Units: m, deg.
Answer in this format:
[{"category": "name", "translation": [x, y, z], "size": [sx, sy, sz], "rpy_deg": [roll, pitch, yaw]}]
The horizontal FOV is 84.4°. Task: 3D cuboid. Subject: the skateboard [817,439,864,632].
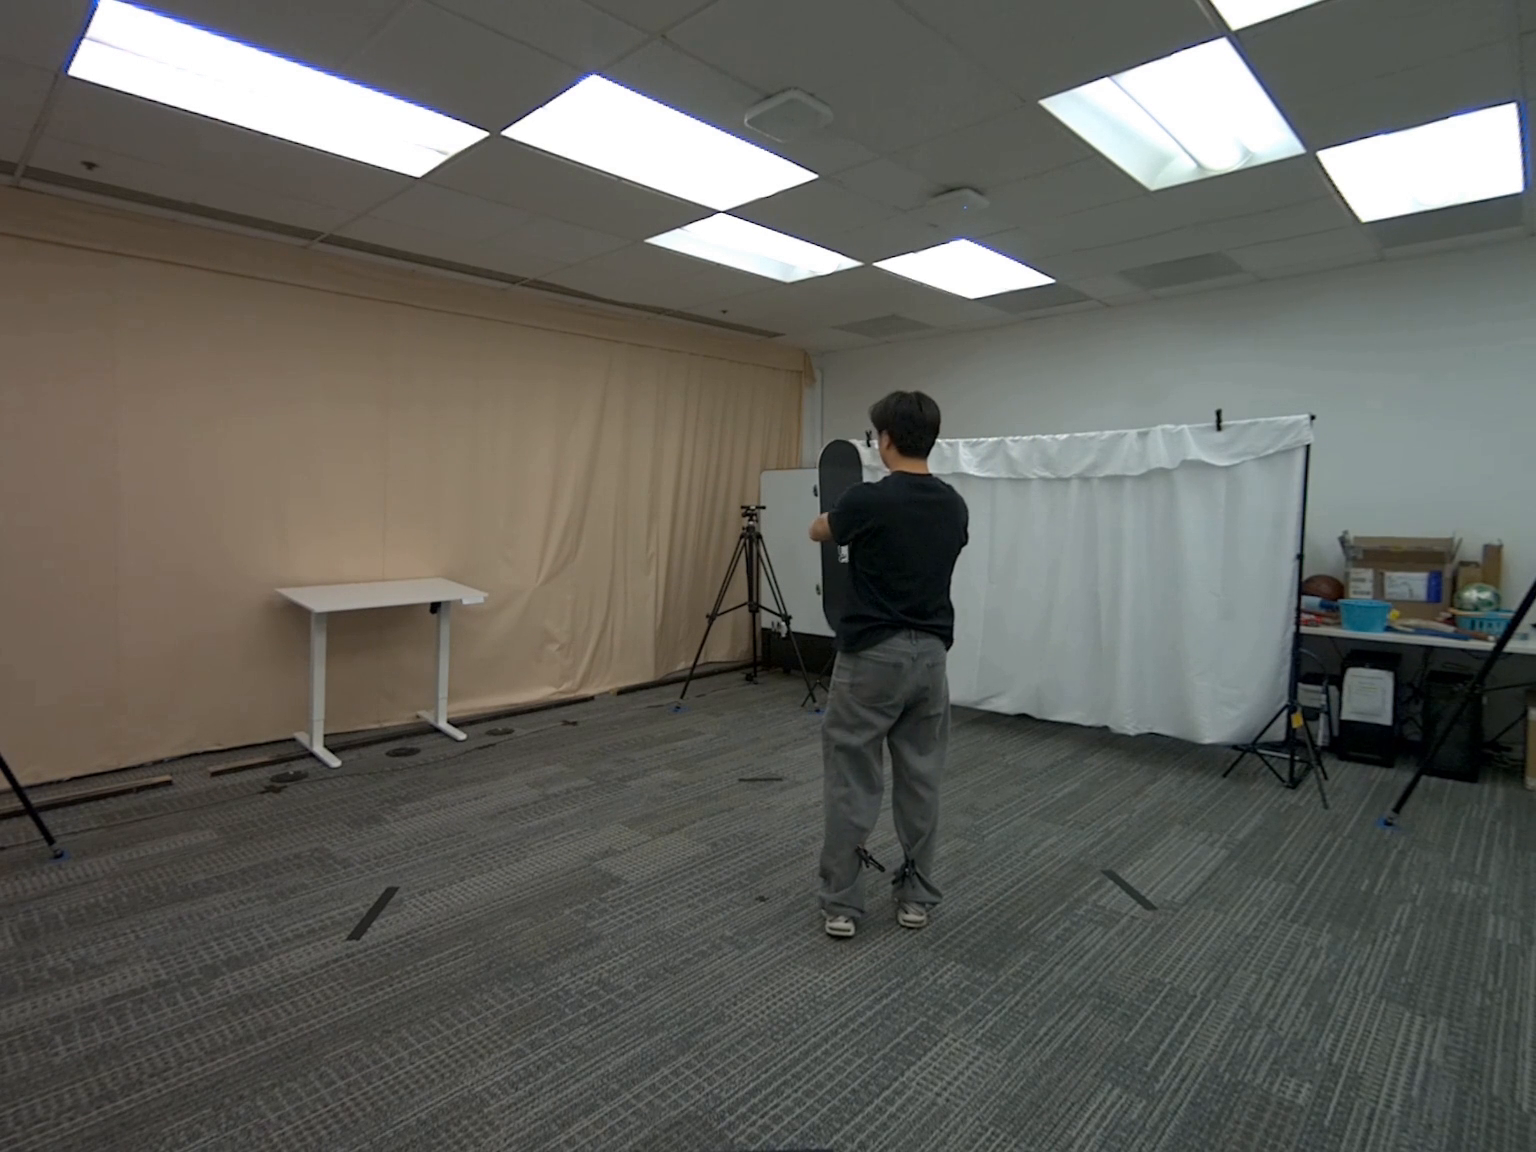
[{"category": "skateboard", "translation": [0.288, -0.150, 3.369], "size": [0.190, 0.790, 0.111], "rpy_deg": [3, -10, -15]}]
